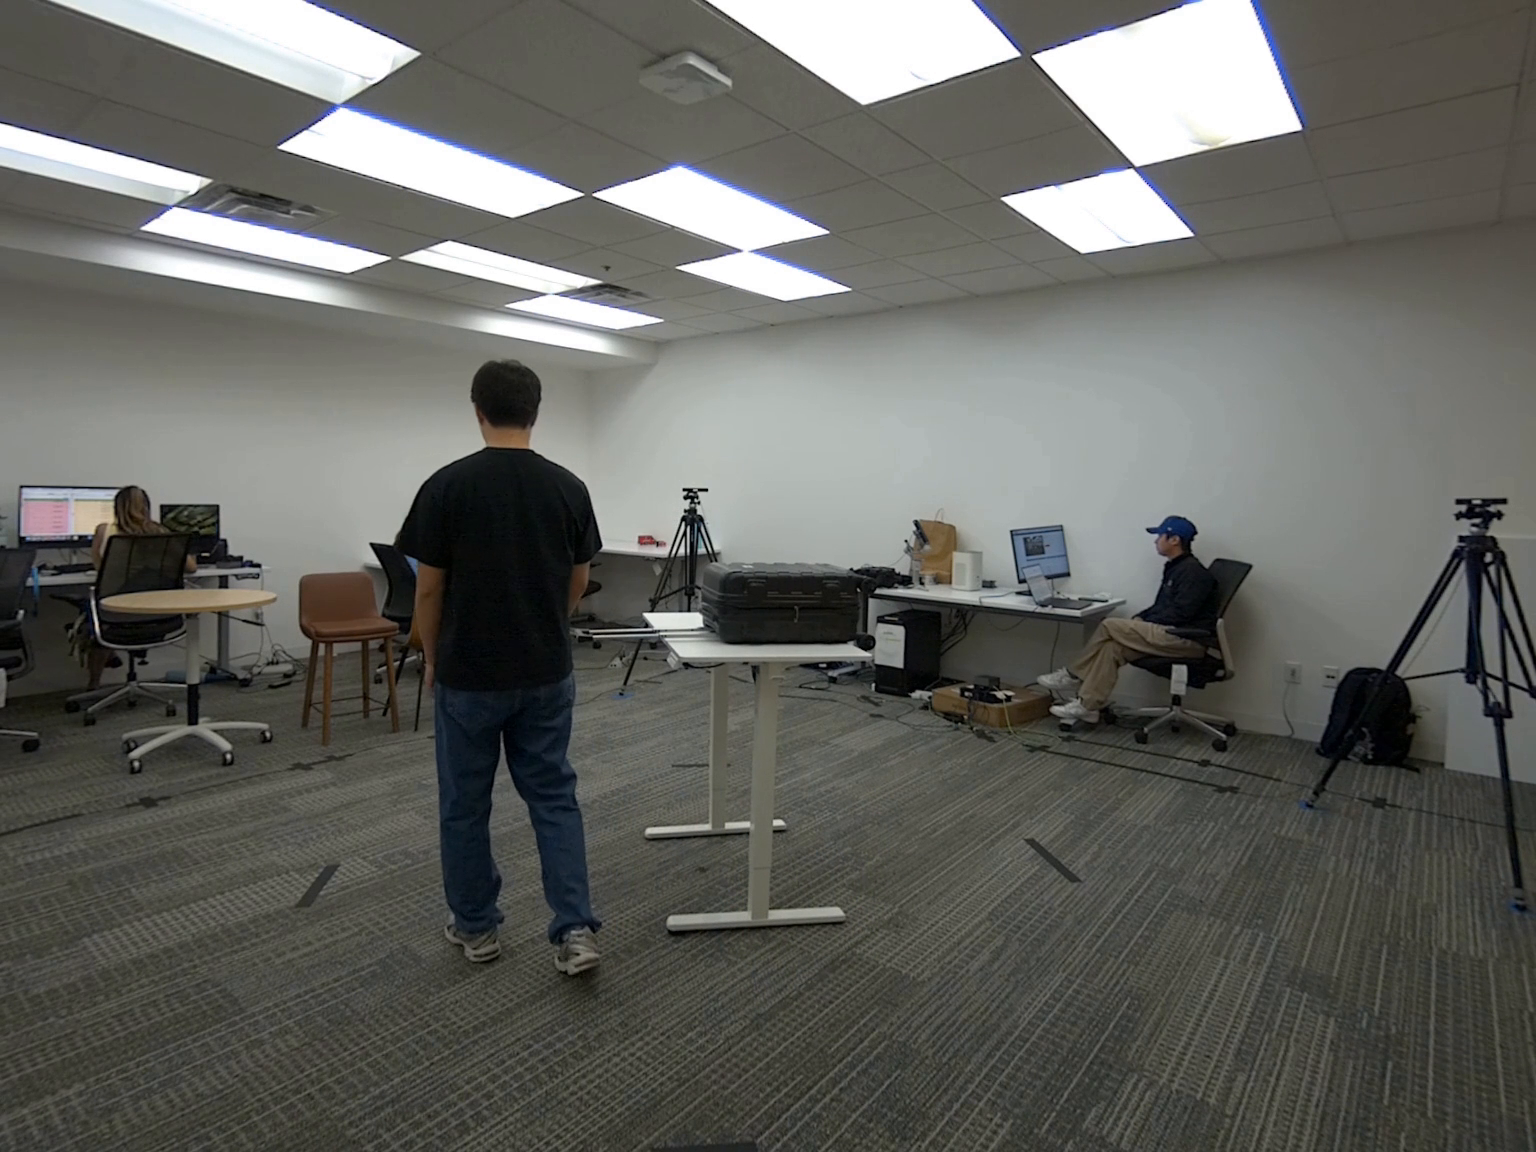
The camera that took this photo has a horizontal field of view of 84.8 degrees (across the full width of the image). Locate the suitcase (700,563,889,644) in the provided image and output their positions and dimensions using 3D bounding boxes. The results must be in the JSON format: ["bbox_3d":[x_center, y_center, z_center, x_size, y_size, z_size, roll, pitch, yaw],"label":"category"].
[{"bbox_3d":[-0.154,0.085,2.889,0.964,0.256,0.391,2,5,-14],"label":"suitcase"}]
